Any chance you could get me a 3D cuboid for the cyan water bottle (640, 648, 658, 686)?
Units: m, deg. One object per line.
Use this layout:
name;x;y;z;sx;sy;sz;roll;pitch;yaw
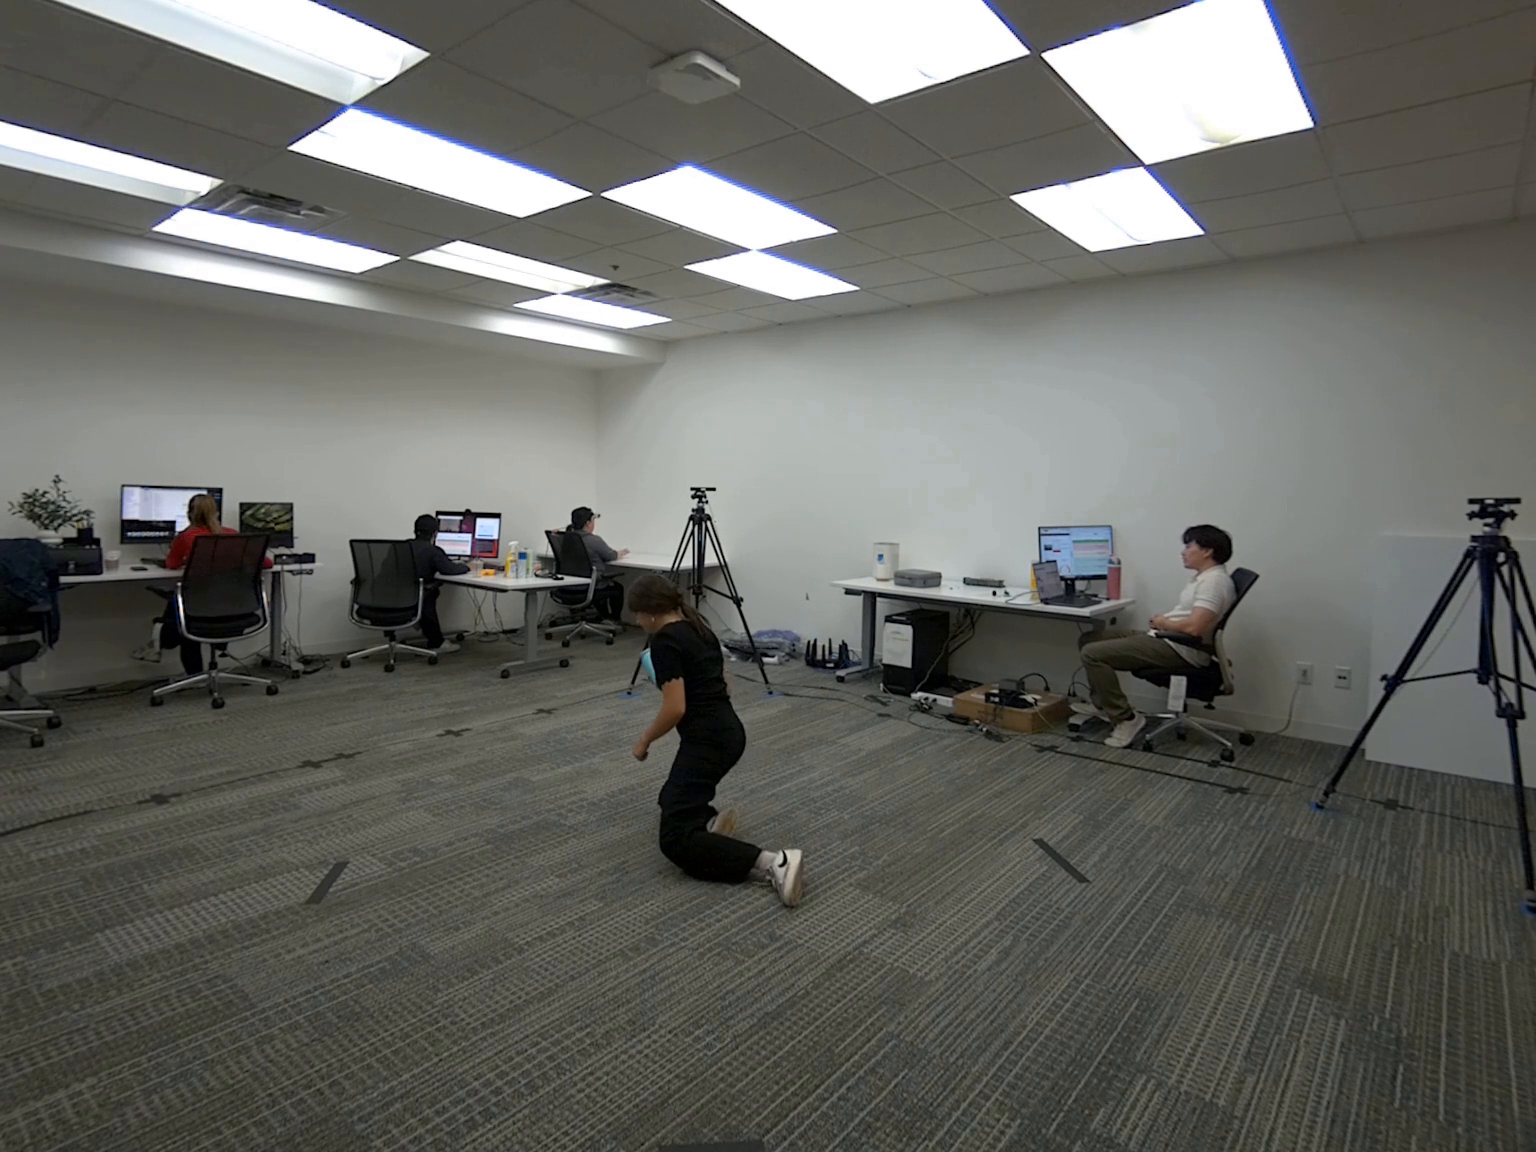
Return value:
cyan water bottle;-0.516;0.405;3.783;0.090;0.091;0.294;-1;20;-24
